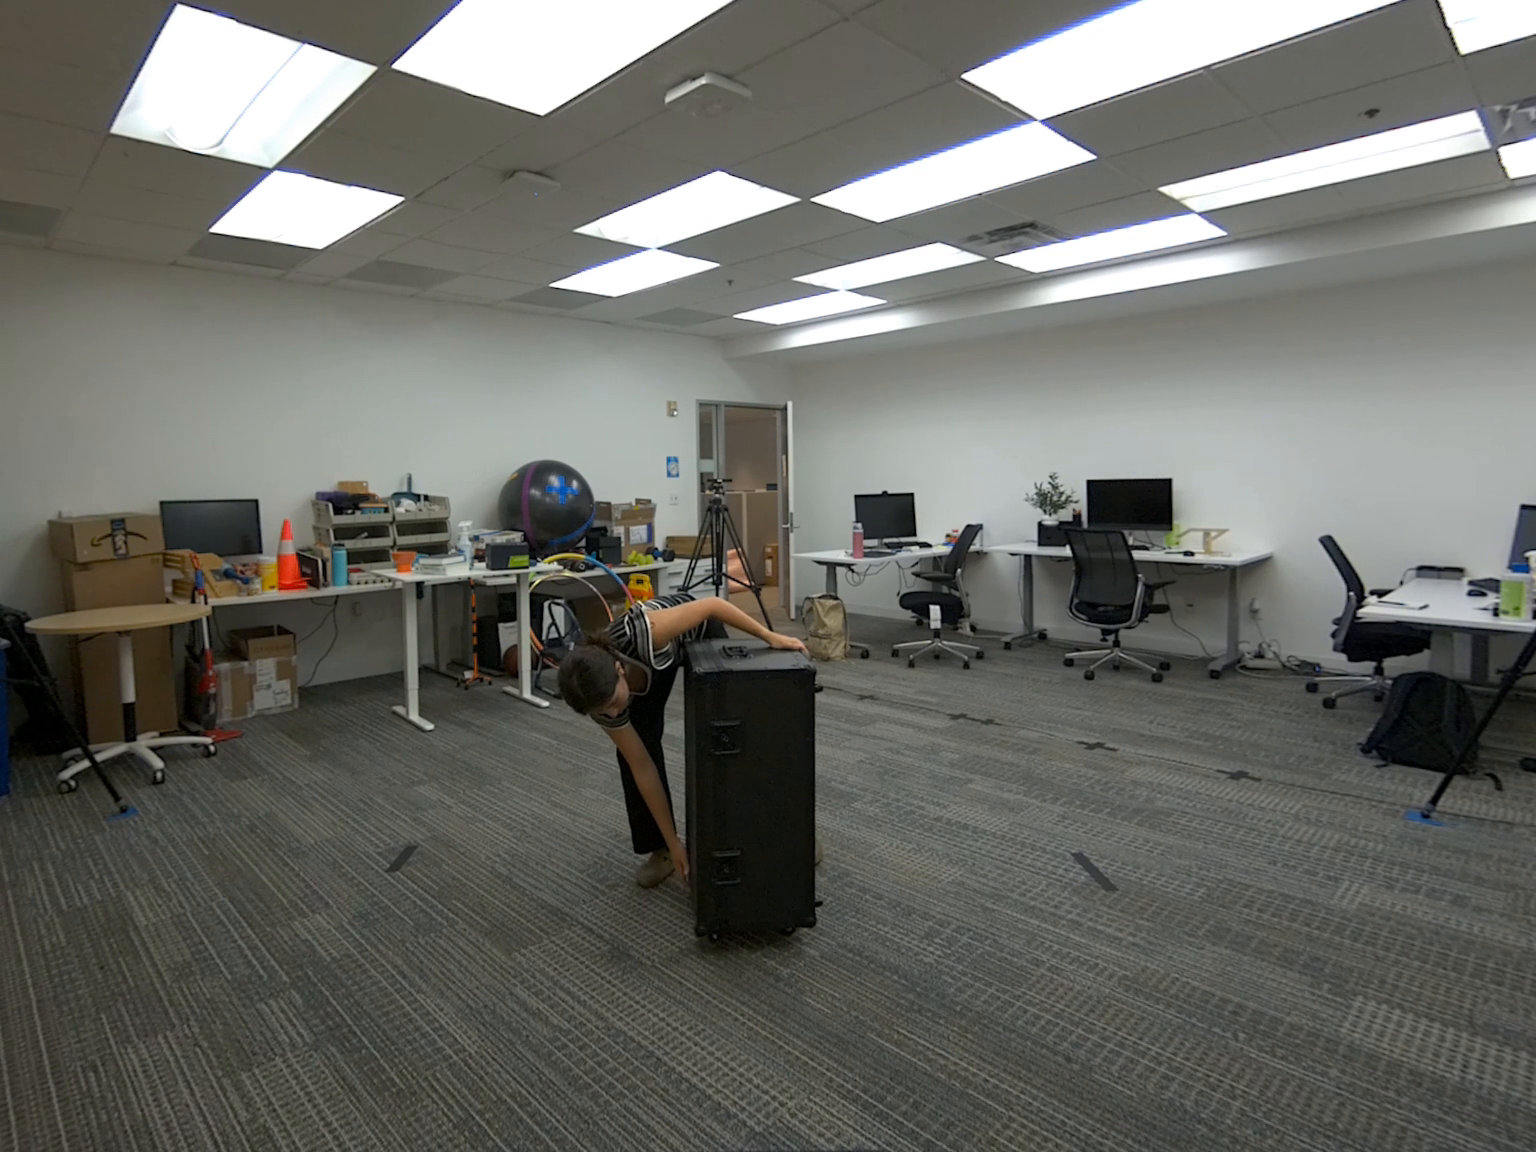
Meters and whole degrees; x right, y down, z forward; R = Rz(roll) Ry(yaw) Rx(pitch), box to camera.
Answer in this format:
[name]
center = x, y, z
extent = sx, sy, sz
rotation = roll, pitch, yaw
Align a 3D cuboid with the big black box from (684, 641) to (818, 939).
[big black box]
center = -0.063, 0.667, 2.718
extent = 0.395, 0.859, 0.525
rotation = 0, 3, -5
